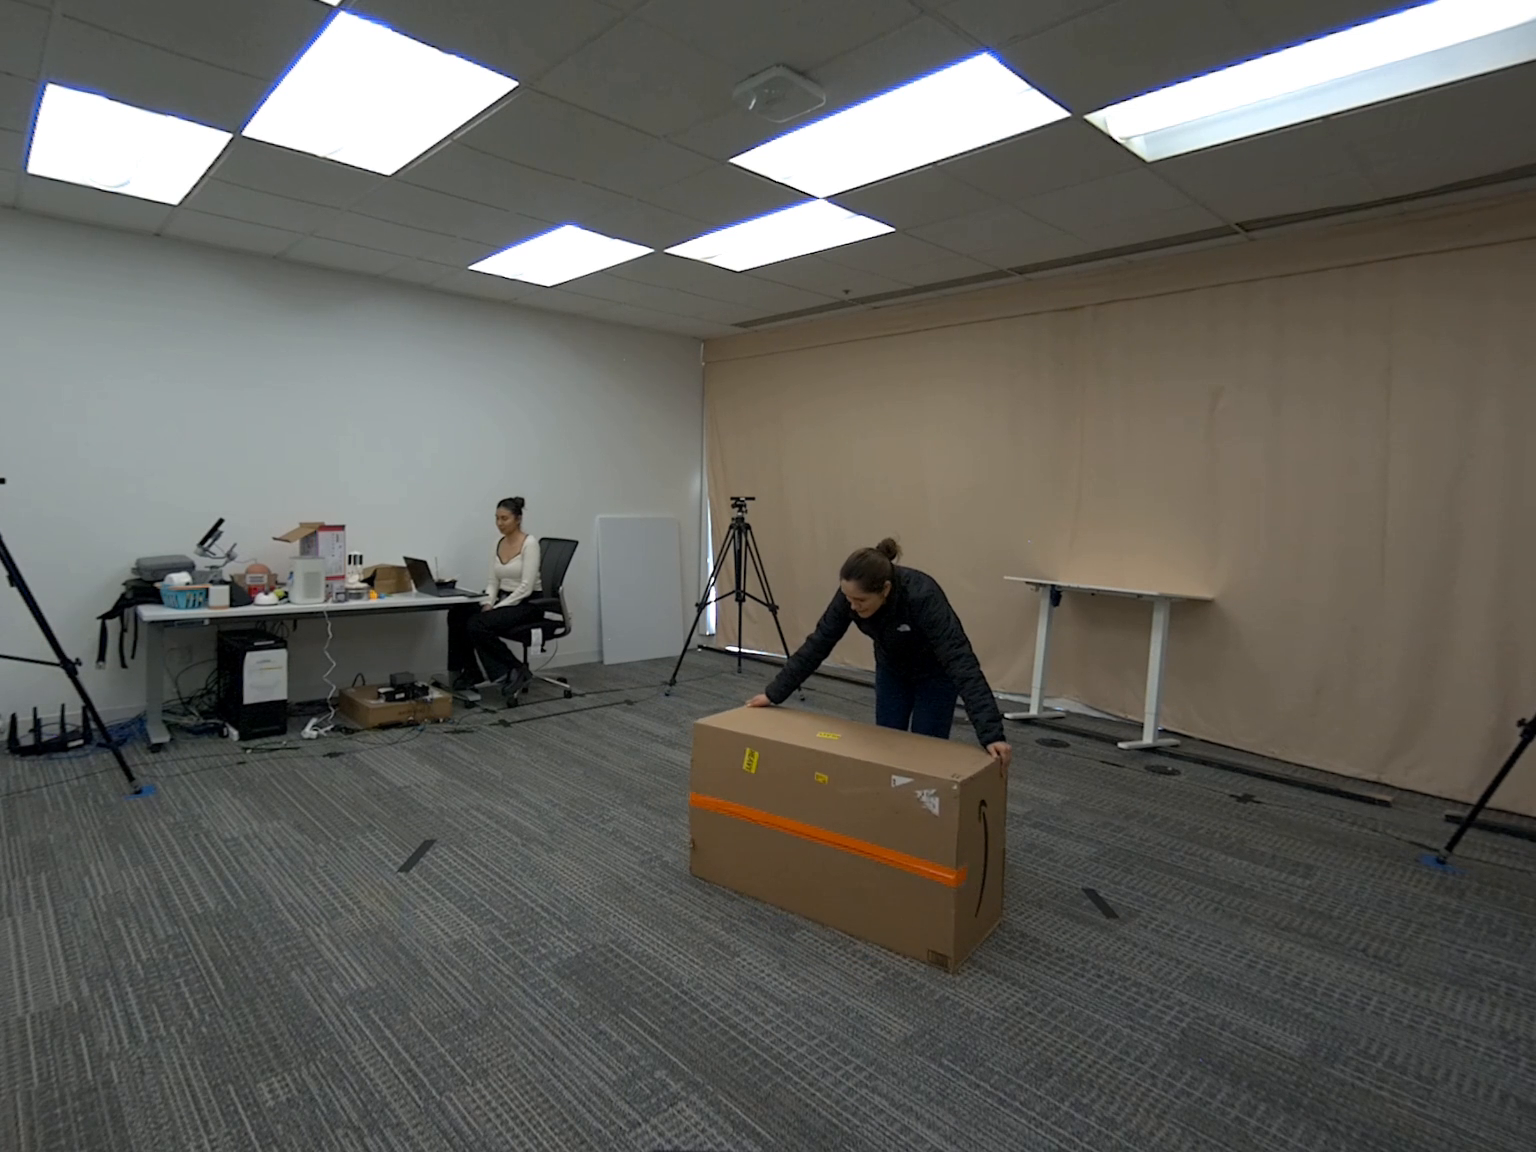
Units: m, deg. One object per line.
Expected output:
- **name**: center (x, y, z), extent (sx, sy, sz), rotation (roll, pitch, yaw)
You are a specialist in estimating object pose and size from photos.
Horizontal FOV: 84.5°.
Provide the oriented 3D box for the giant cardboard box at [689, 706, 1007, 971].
- **giant cardboard box**: center (0.247, 0.845, 2.936), extent (1.052, 0.582, 0.437), rotation (4, 5, 35)
